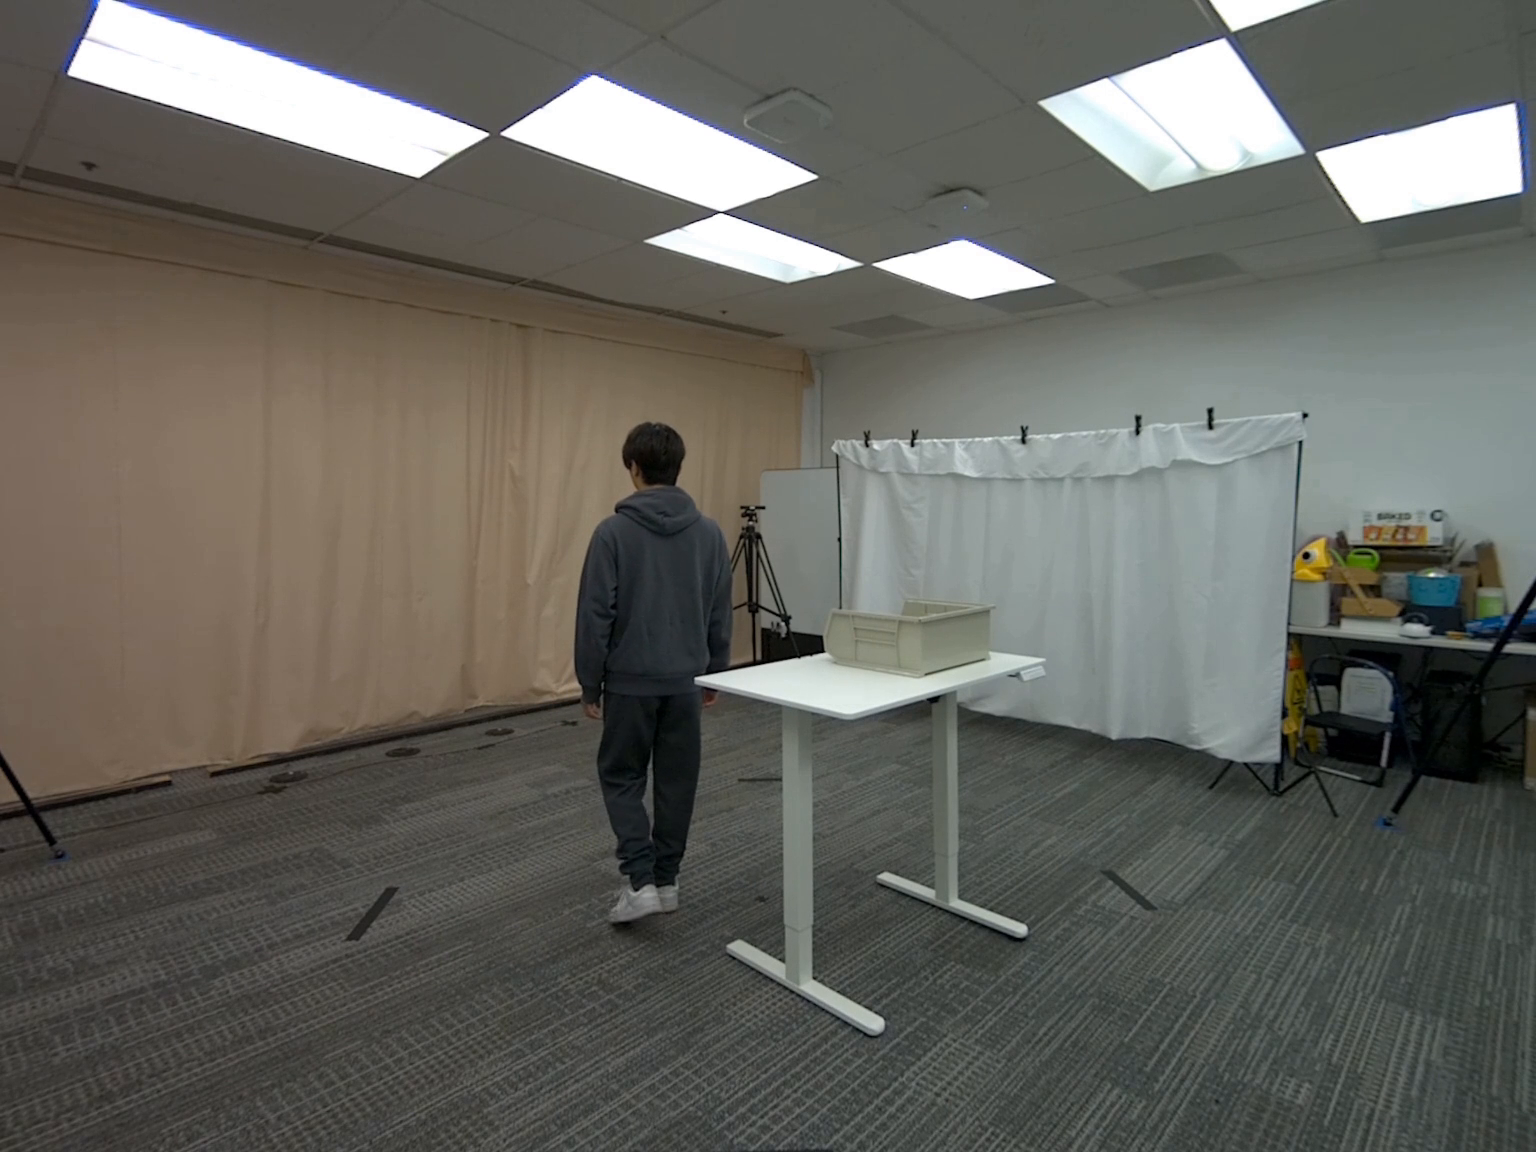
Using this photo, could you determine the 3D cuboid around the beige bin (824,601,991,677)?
[{"bbox_3d":[0.464,0.191,2.731,0.409,0.188,0.390,-5,6,-43],"label":"beige bin"}]
